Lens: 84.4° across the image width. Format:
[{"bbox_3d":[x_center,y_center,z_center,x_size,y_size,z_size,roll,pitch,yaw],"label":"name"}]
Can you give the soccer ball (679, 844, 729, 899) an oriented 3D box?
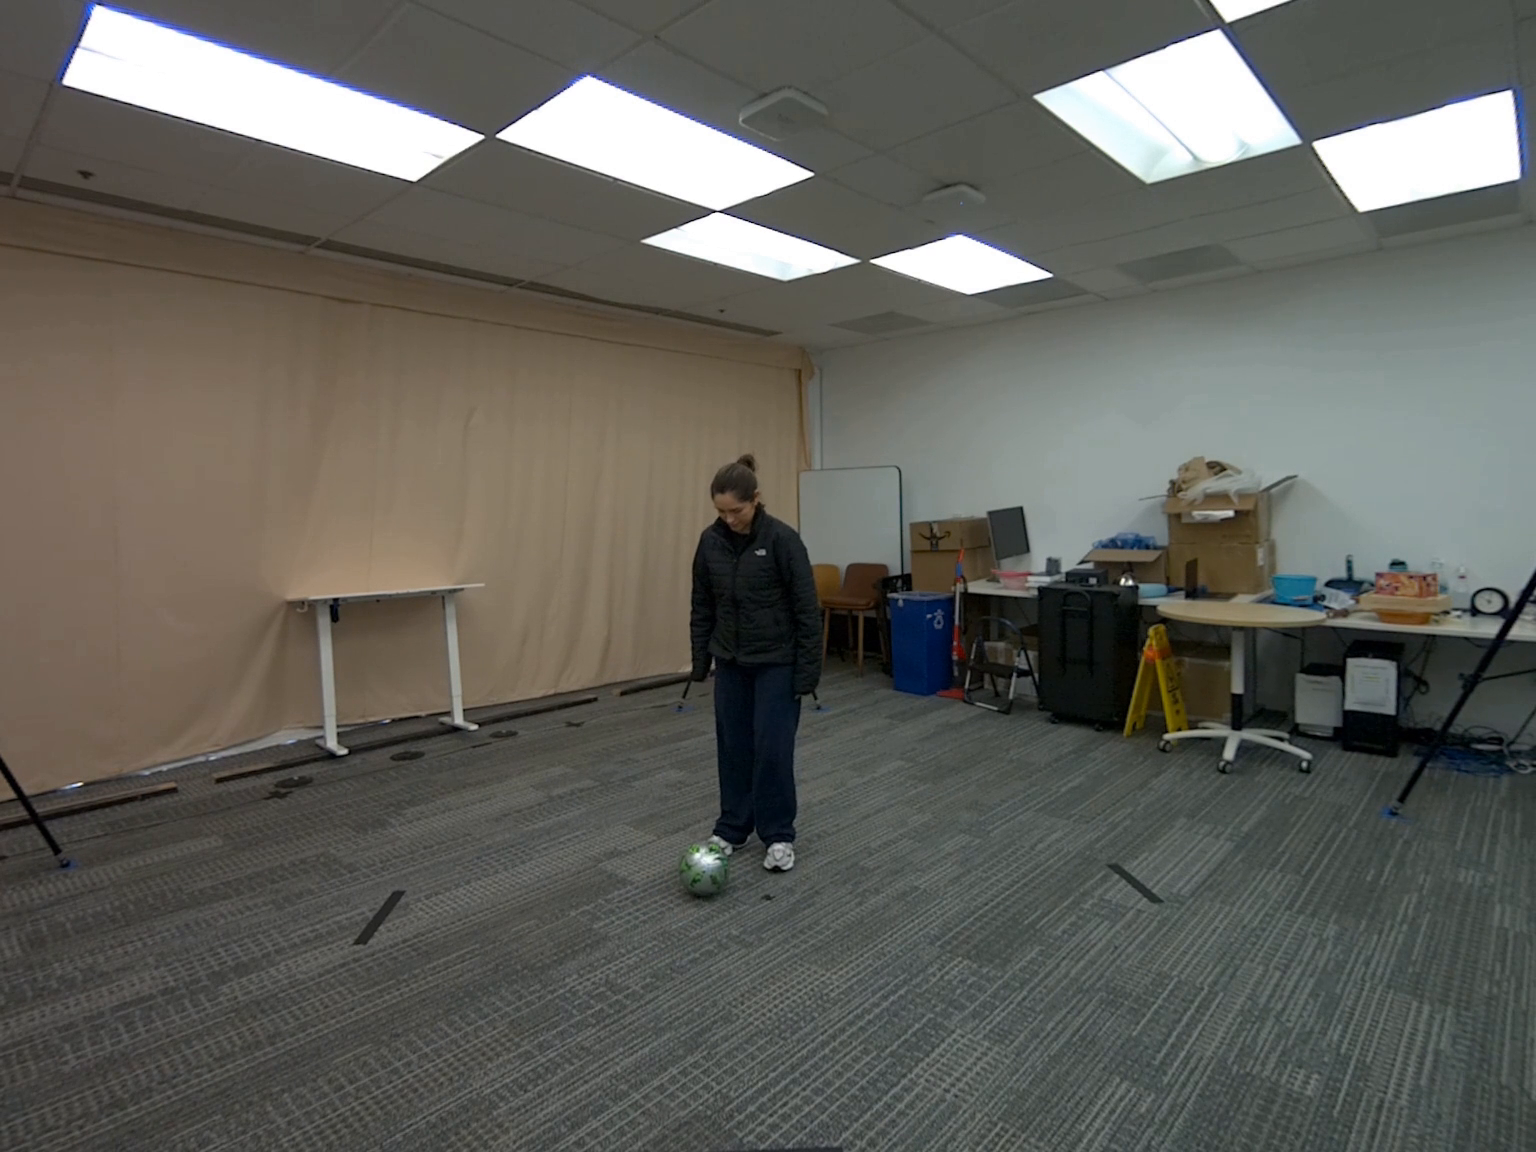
[{"bbox_3d":[-0.227,1.047,3.016,0.187,0.187,0.188,-1,4,-2],"label":"soccer ball"}]
